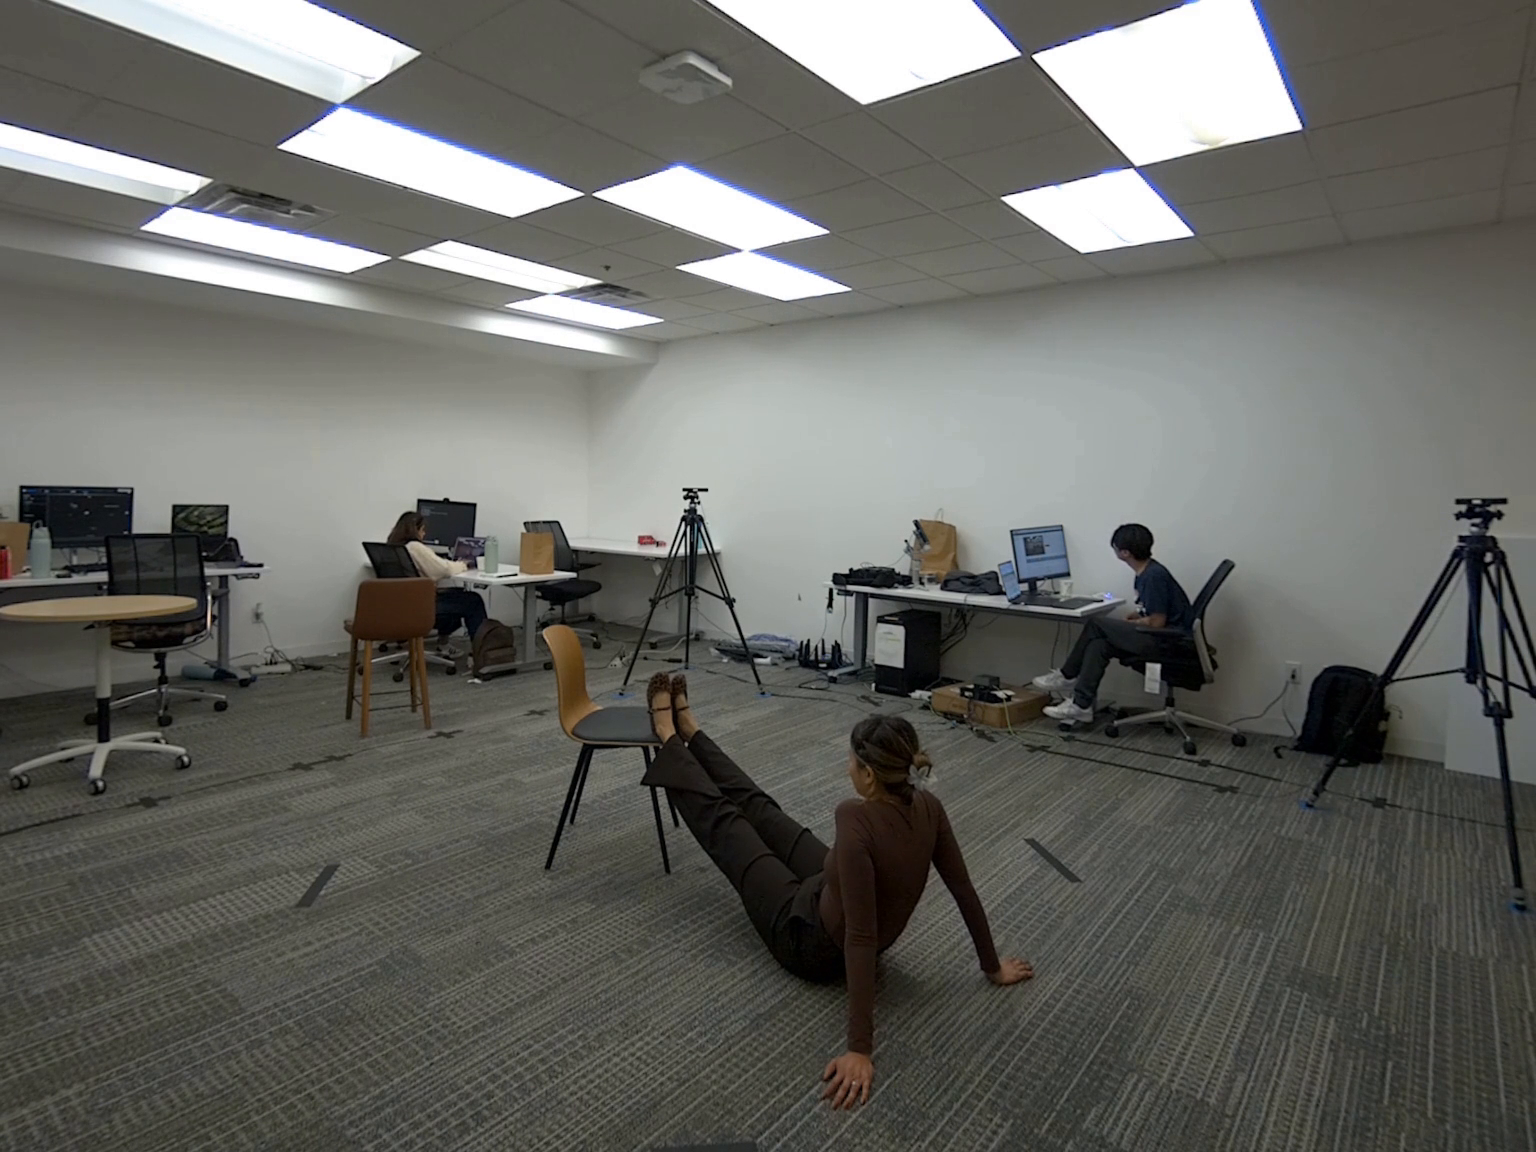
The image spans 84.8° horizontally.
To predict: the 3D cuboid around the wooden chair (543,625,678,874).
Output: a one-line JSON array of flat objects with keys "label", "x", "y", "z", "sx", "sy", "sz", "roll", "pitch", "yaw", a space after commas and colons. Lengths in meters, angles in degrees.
[{"label": "wooden chair", "x": -0.585, "y": 0.621, "z": 3.267, "sx": 0.524, "sy": 0.875, "sz": 0.479, "roll": -3, "pitch": 3, "yaw": 1}]
